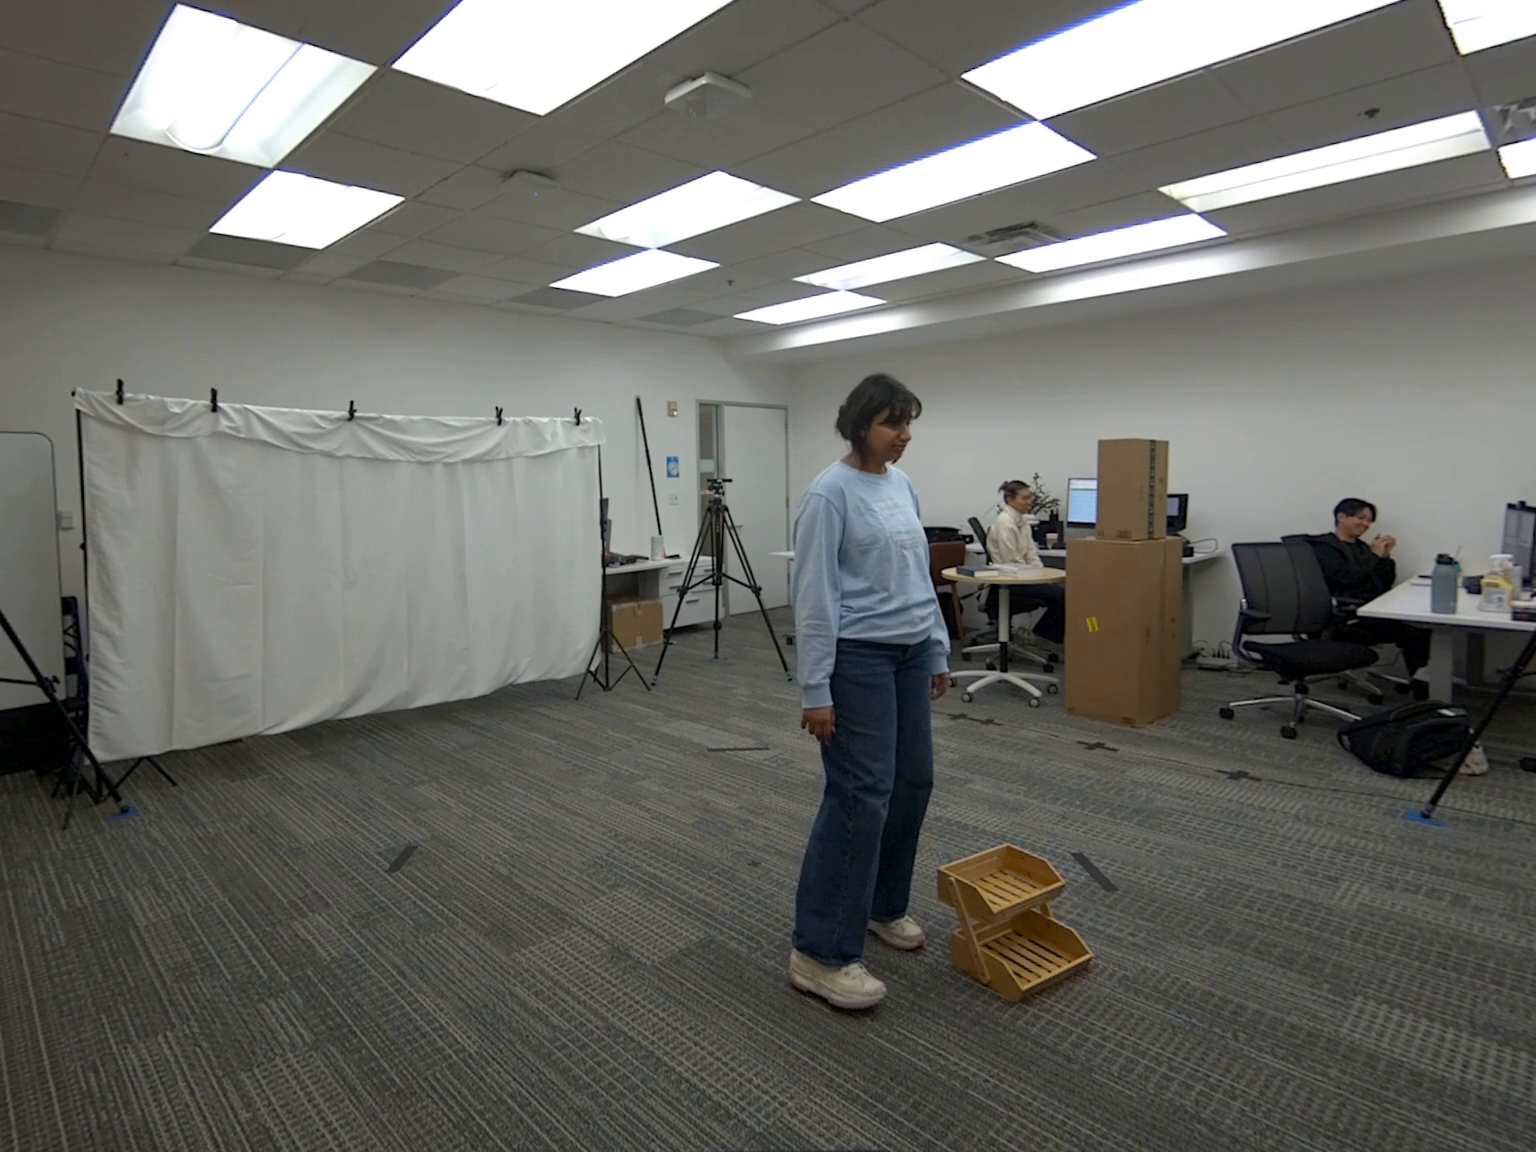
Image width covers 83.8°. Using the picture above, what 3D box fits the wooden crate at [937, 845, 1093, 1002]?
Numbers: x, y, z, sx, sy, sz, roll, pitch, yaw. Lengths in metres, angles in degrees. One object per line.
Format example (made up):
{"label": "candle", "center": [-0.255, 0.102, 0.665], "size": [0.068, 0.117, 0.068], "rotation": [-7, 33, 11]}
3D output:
{"label": "wooden crate", "center": [0.715, 0.981, 2.428], "size": [0.316, 0.272, 0.311], "rotation": [-4, 6, -33]}
